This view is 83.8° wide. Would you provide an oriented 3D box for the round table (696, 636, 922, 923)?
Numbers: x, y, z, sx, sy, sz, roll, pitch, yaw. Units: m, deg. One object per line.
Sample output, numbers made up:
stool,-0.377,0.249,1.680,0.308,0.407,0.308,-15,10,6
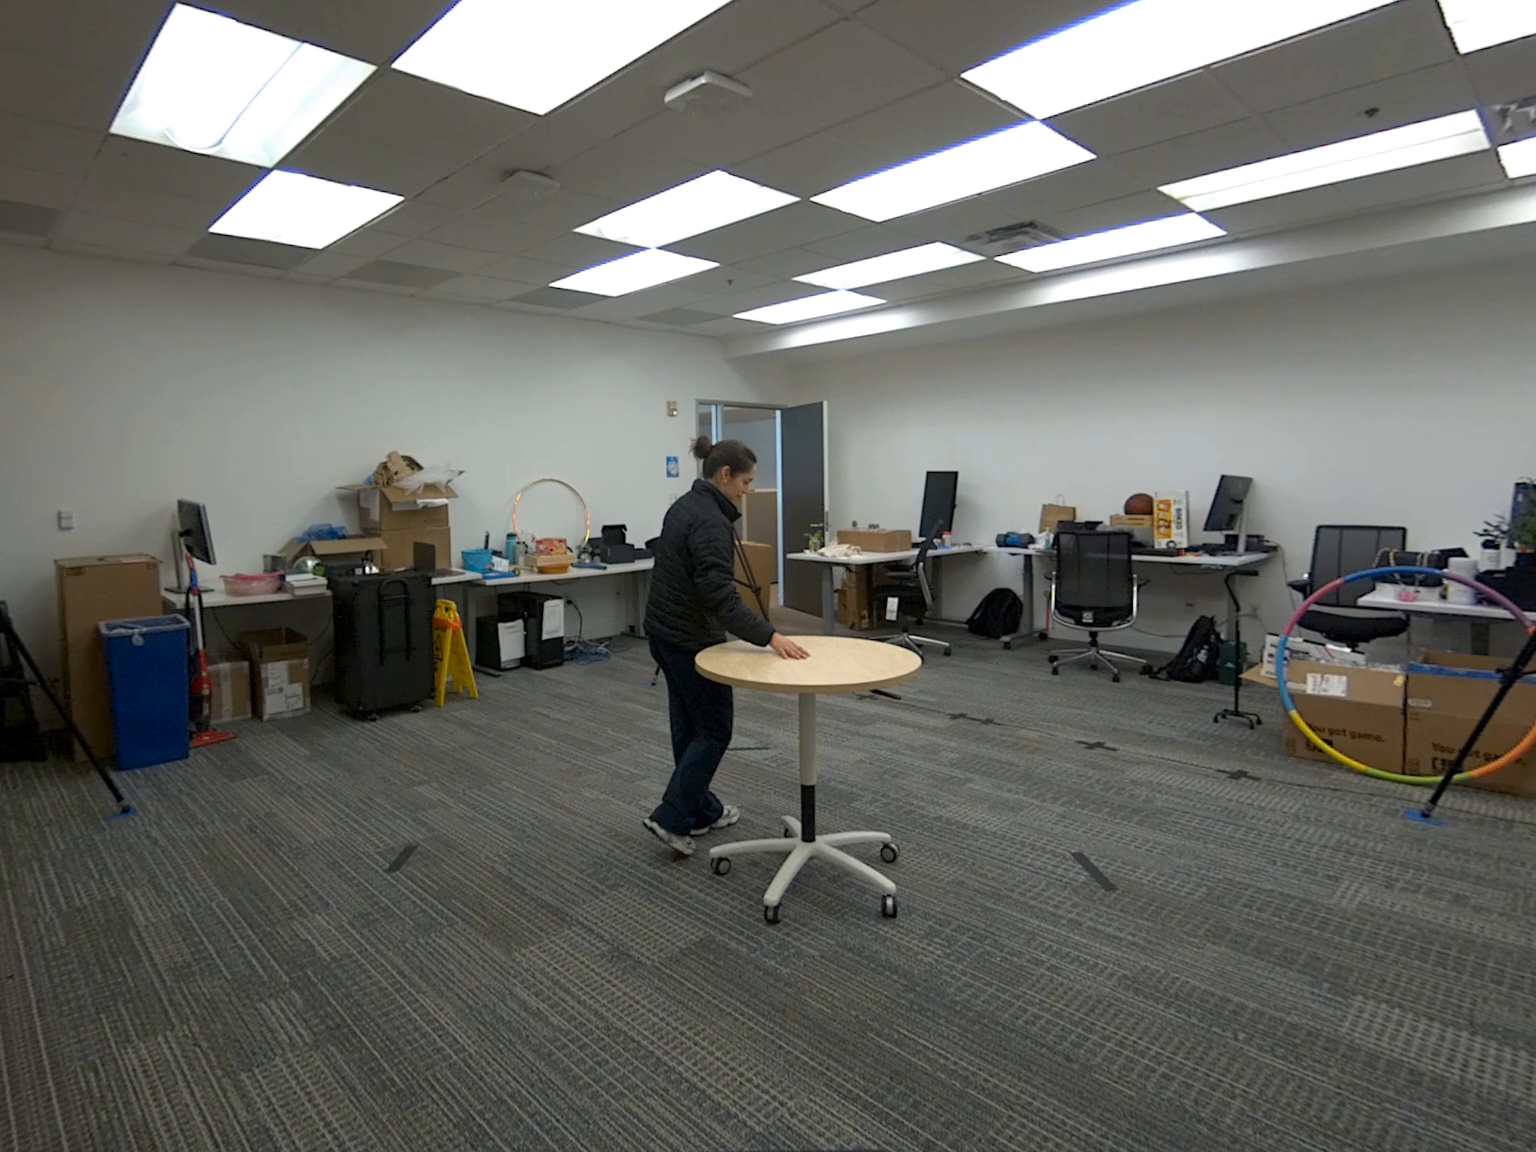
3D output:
round table,0.130,0.667,2.953,0.784,0.783,0.789,-1,5,-2
